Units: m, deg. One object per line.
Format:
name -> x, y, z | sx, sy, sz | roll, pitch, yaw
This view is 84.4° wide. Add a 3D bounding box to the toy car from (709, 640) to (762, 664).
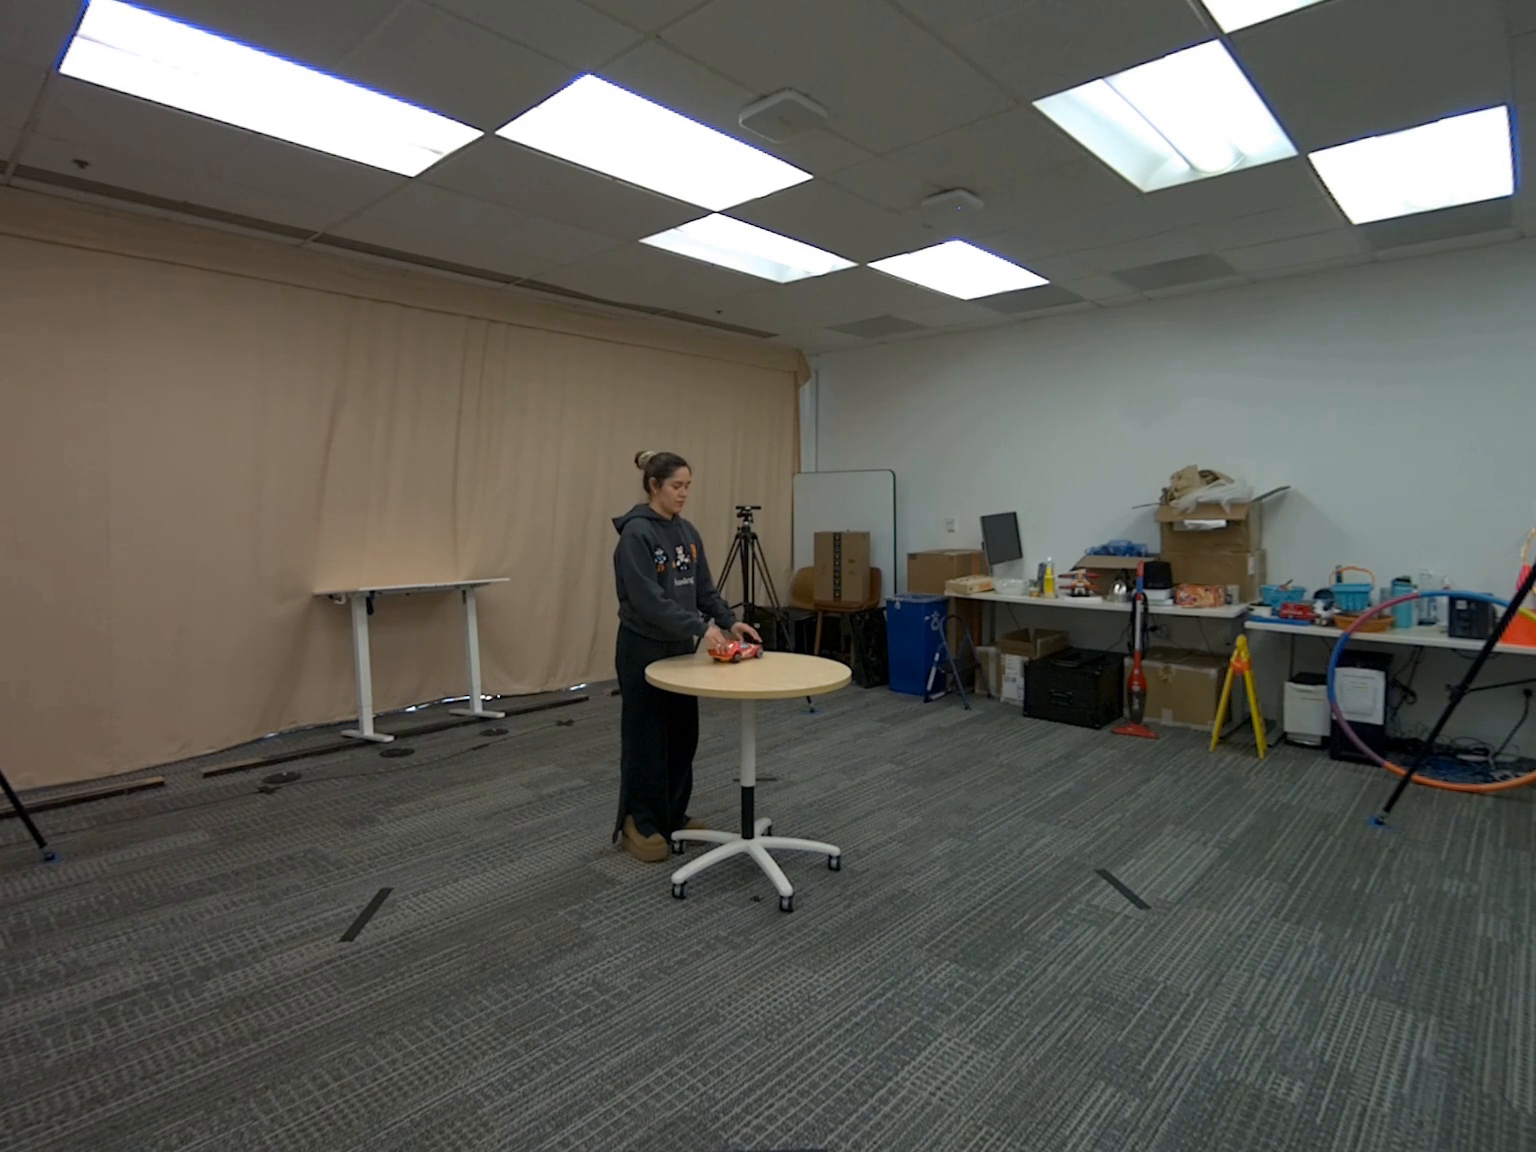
toy car -> -0.116, 0.299, 3.325 | 0.134, 0.083, 0.246 | 3, -4, 40
